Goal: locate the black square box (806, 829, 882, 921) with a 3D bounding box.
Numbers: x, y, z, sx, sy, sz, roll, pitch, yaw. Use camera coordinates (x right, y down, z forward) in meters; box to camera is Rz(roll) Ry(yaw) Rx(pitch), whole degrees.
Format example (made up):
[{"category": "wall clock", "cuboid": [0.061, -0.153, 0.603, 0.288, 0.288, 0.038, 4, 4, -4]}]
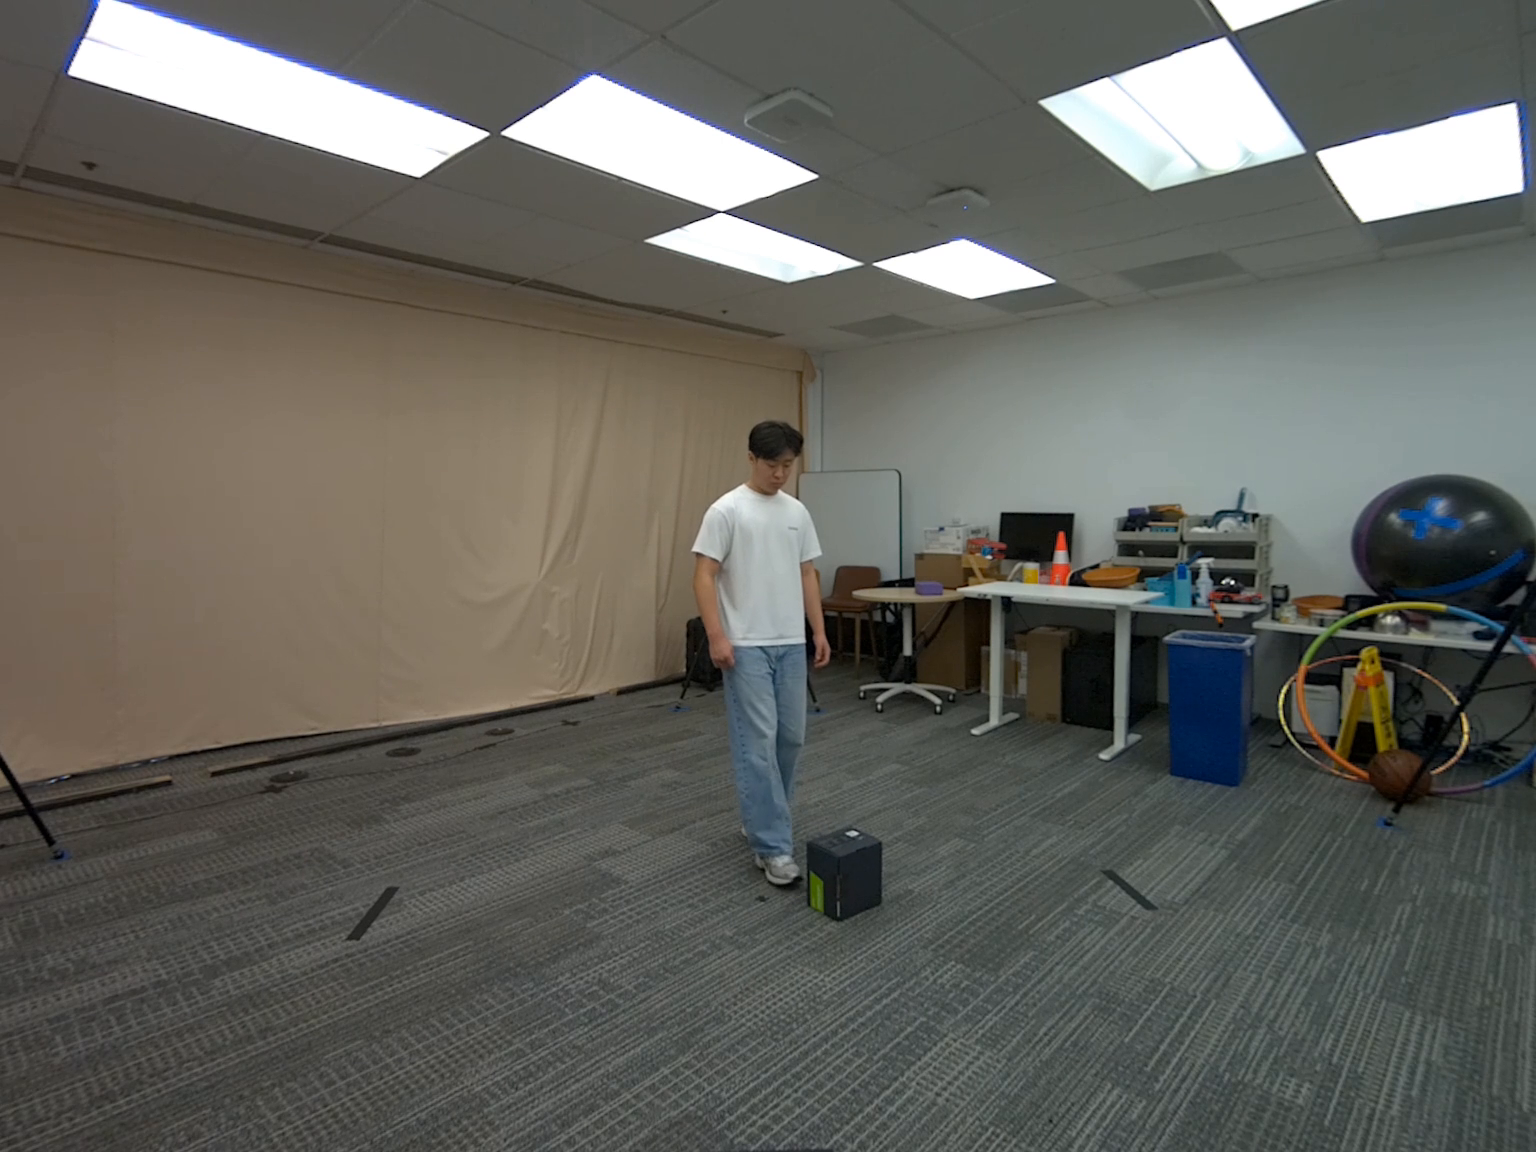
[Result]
[{"category": "black square box", "cuboid": [0.270, 1.029, 2.924, 0.210, 0.227, 0.161, -4, 6, -40]}]
